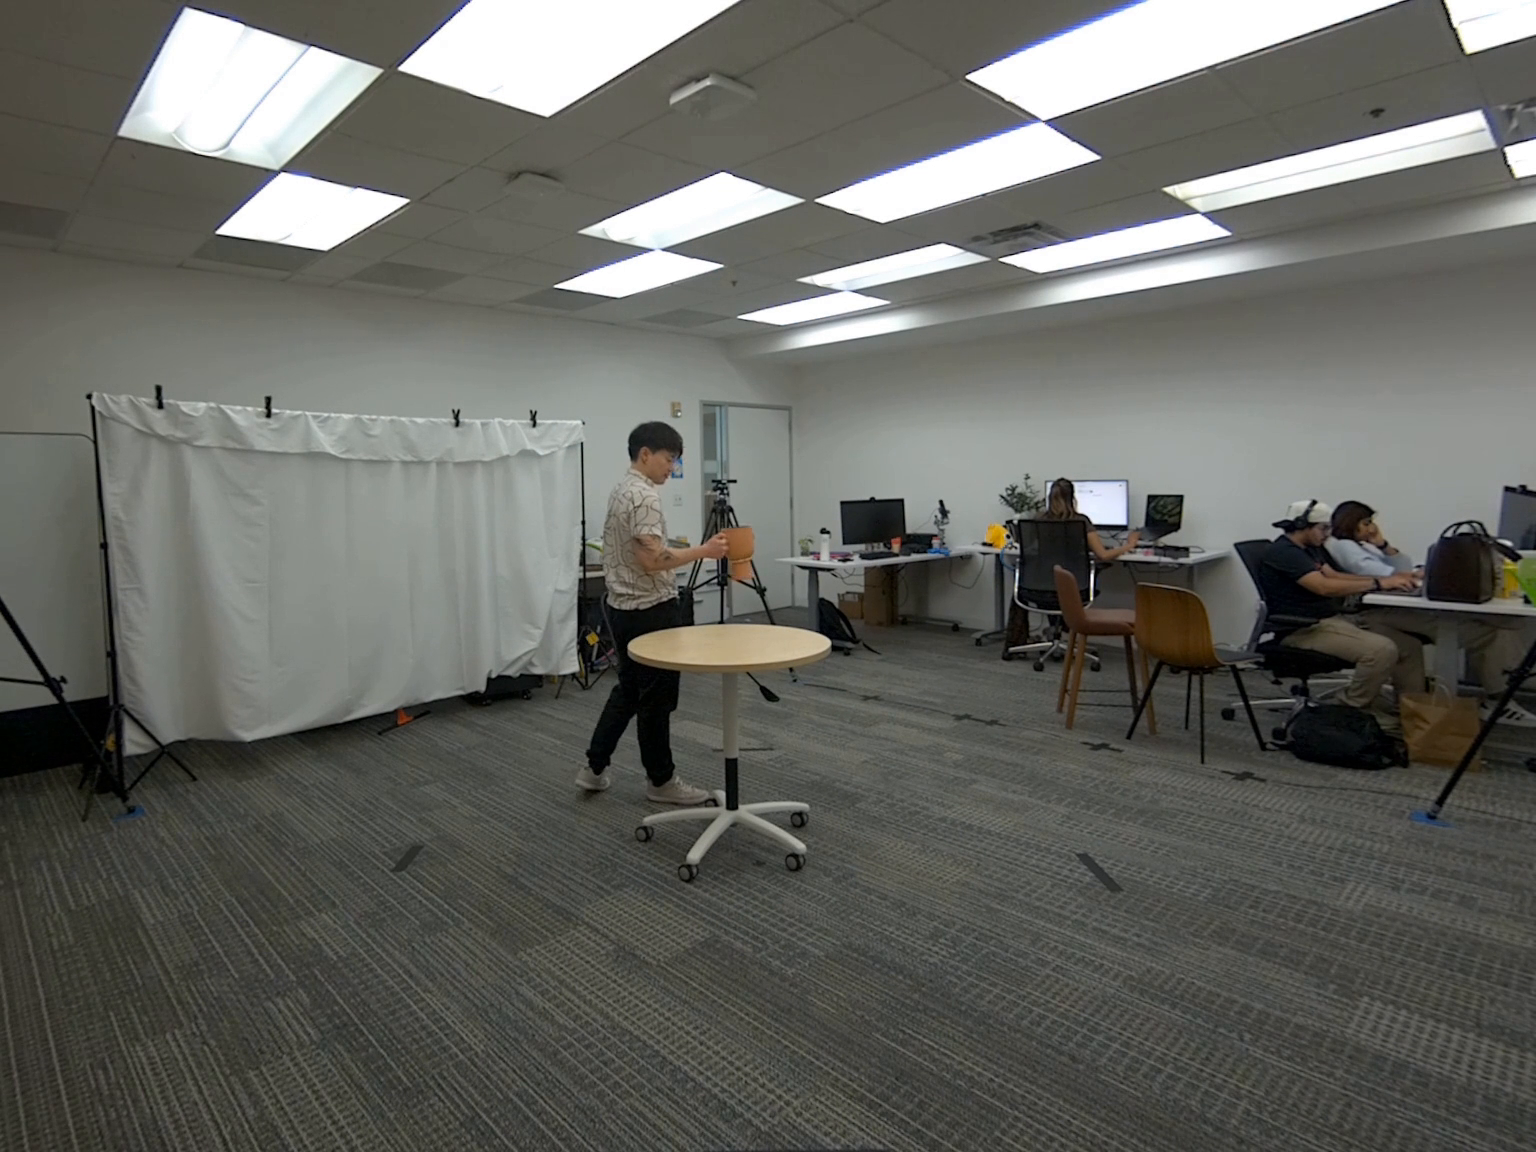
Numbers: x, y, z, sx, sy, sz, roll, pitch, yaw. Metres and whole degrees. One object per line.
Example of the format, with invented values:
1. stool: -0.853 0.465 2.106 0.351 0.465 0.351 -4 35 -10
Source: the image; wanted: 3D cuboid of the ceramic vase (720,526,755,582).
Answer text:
1. ceramic vase: -0.134 -0.093 3.630 0.158 0.219 0.136 -5 4 -9
